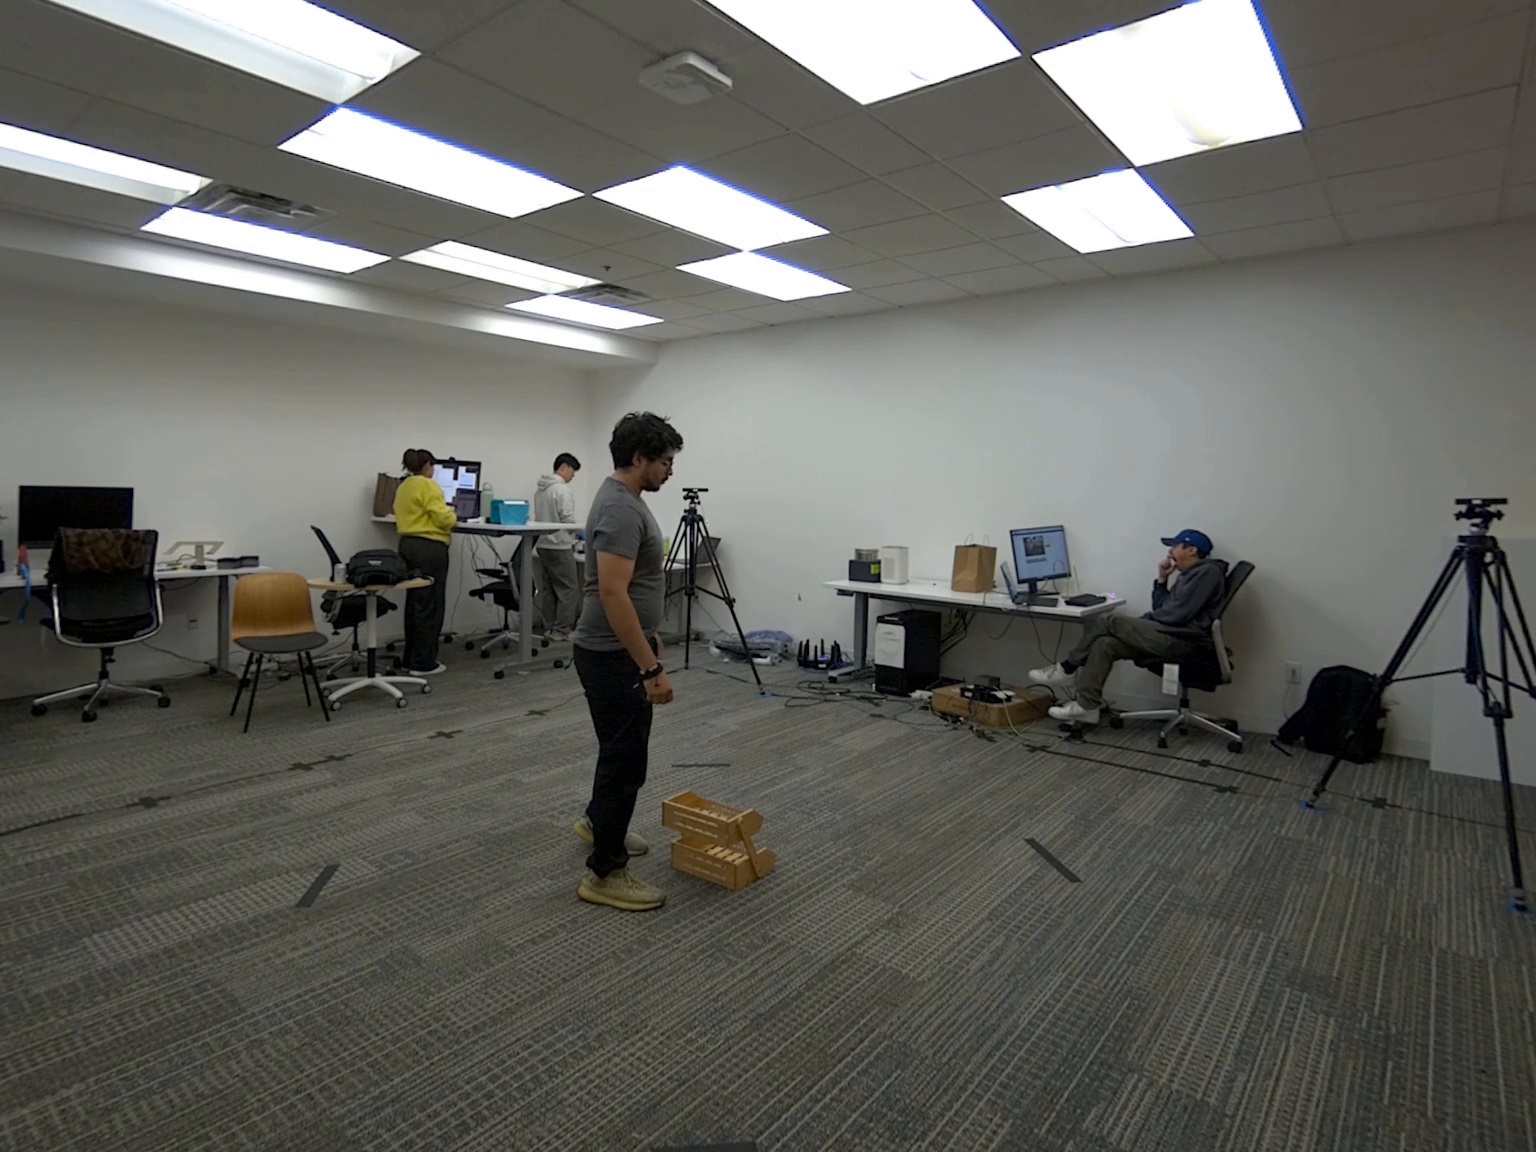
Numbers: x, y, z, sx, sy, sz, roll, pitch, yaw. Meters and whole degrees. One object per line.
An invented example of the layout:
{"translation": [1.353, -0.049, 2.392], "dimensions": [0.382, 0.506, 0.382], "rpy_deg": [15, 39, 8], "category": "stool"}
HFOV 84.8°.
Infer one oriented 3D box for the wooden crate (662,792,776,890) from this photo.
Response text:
{"translation": [-0.185, 0.938, 3.107], "dimensions": [0.335, 0.272, 0.293], "rpy_deg": [4, 6, 36], "category": "wooden crate"}
